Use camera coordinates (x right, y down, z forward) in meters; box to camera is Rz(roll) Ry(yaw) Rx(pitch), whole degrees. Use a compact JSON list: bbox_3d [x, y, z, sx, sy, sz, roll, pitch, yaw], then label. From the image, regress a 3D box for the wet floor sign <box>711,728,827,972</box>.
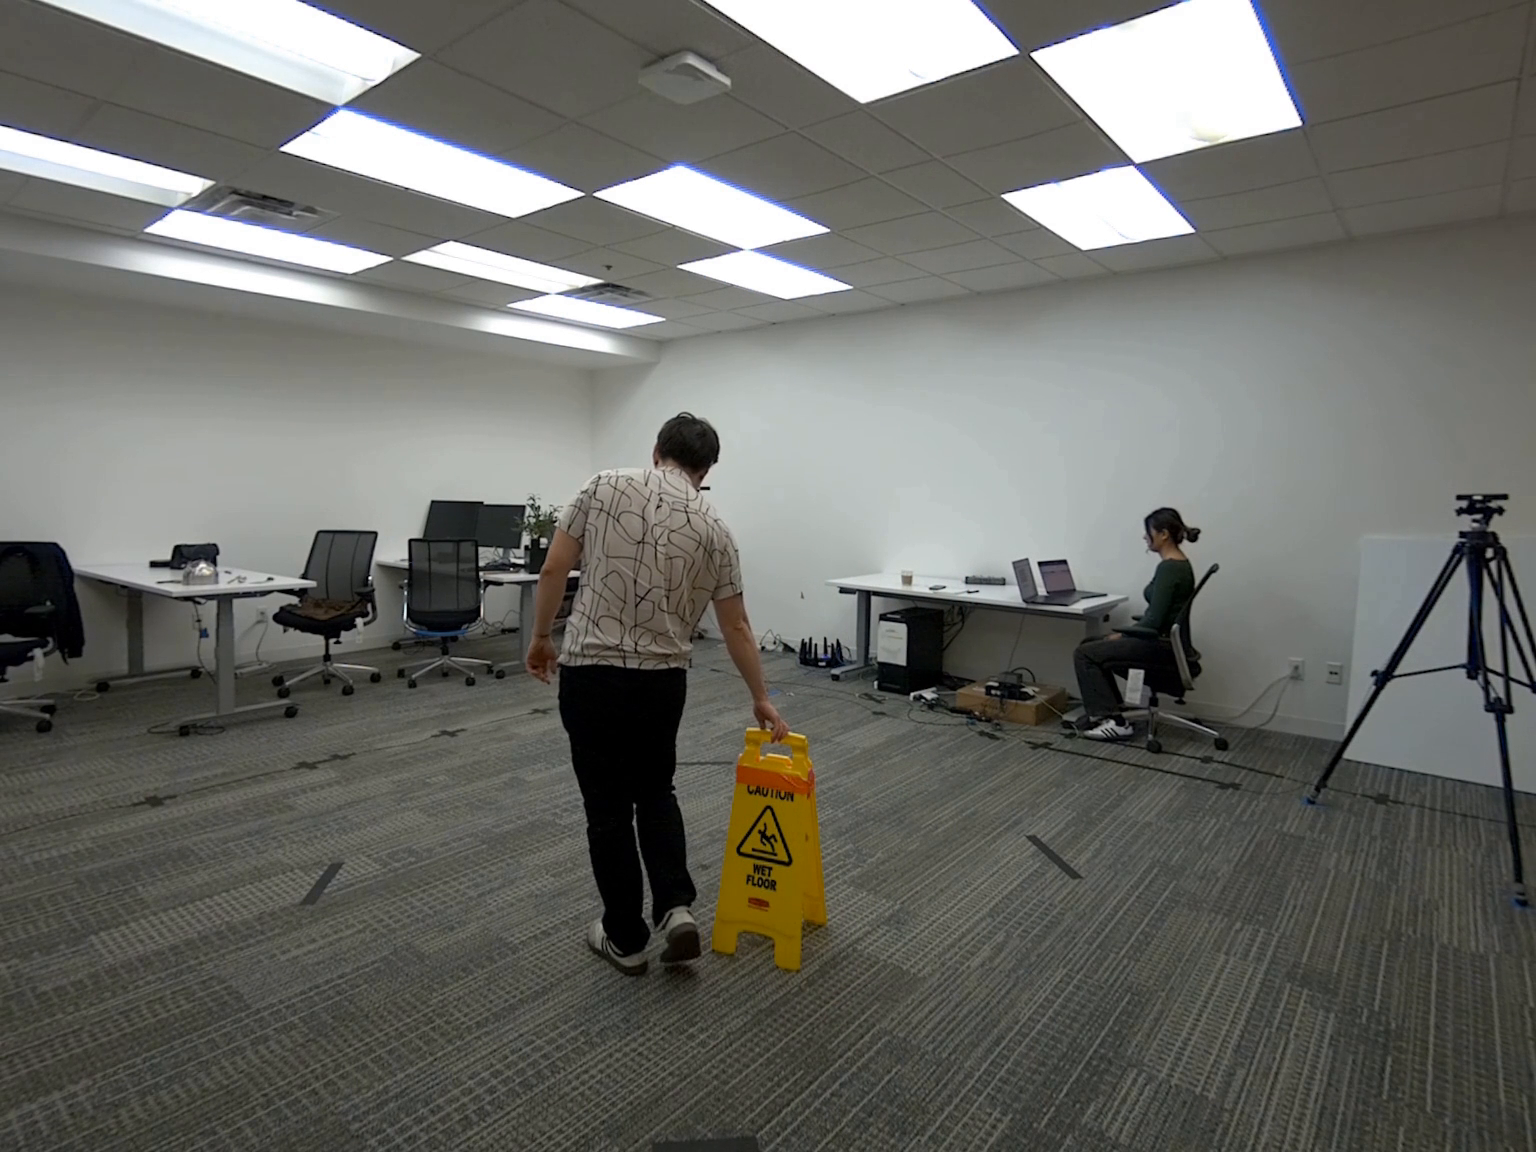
[{"bbox_3d":[0.007,0.792,2.627,0.289,0.645,0.284,2,3,22],"label":"wet floor sign"}]
